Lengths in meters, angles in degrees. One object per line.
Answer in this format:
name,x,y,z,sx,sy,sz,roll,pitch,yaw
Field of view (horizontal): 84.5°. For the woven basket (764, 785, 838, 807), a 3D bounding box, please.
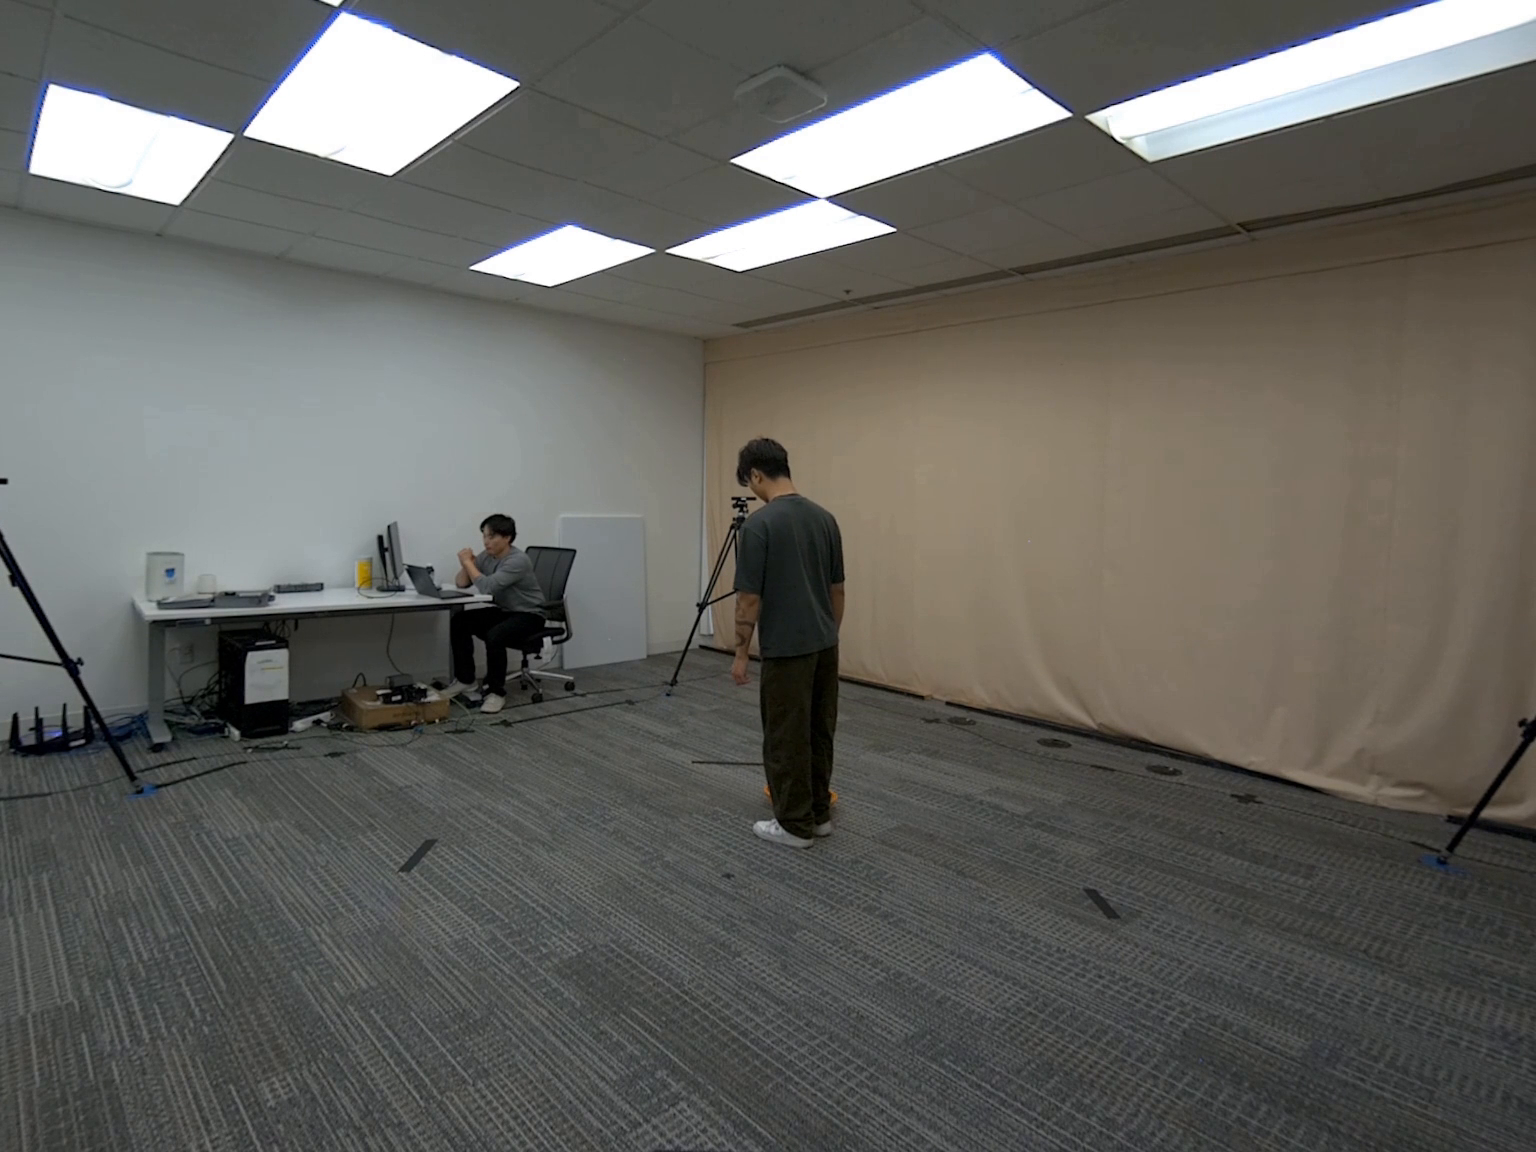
woven basket,0.139,1.019,3.832,0.359,0.073,0.247,5,5,35
